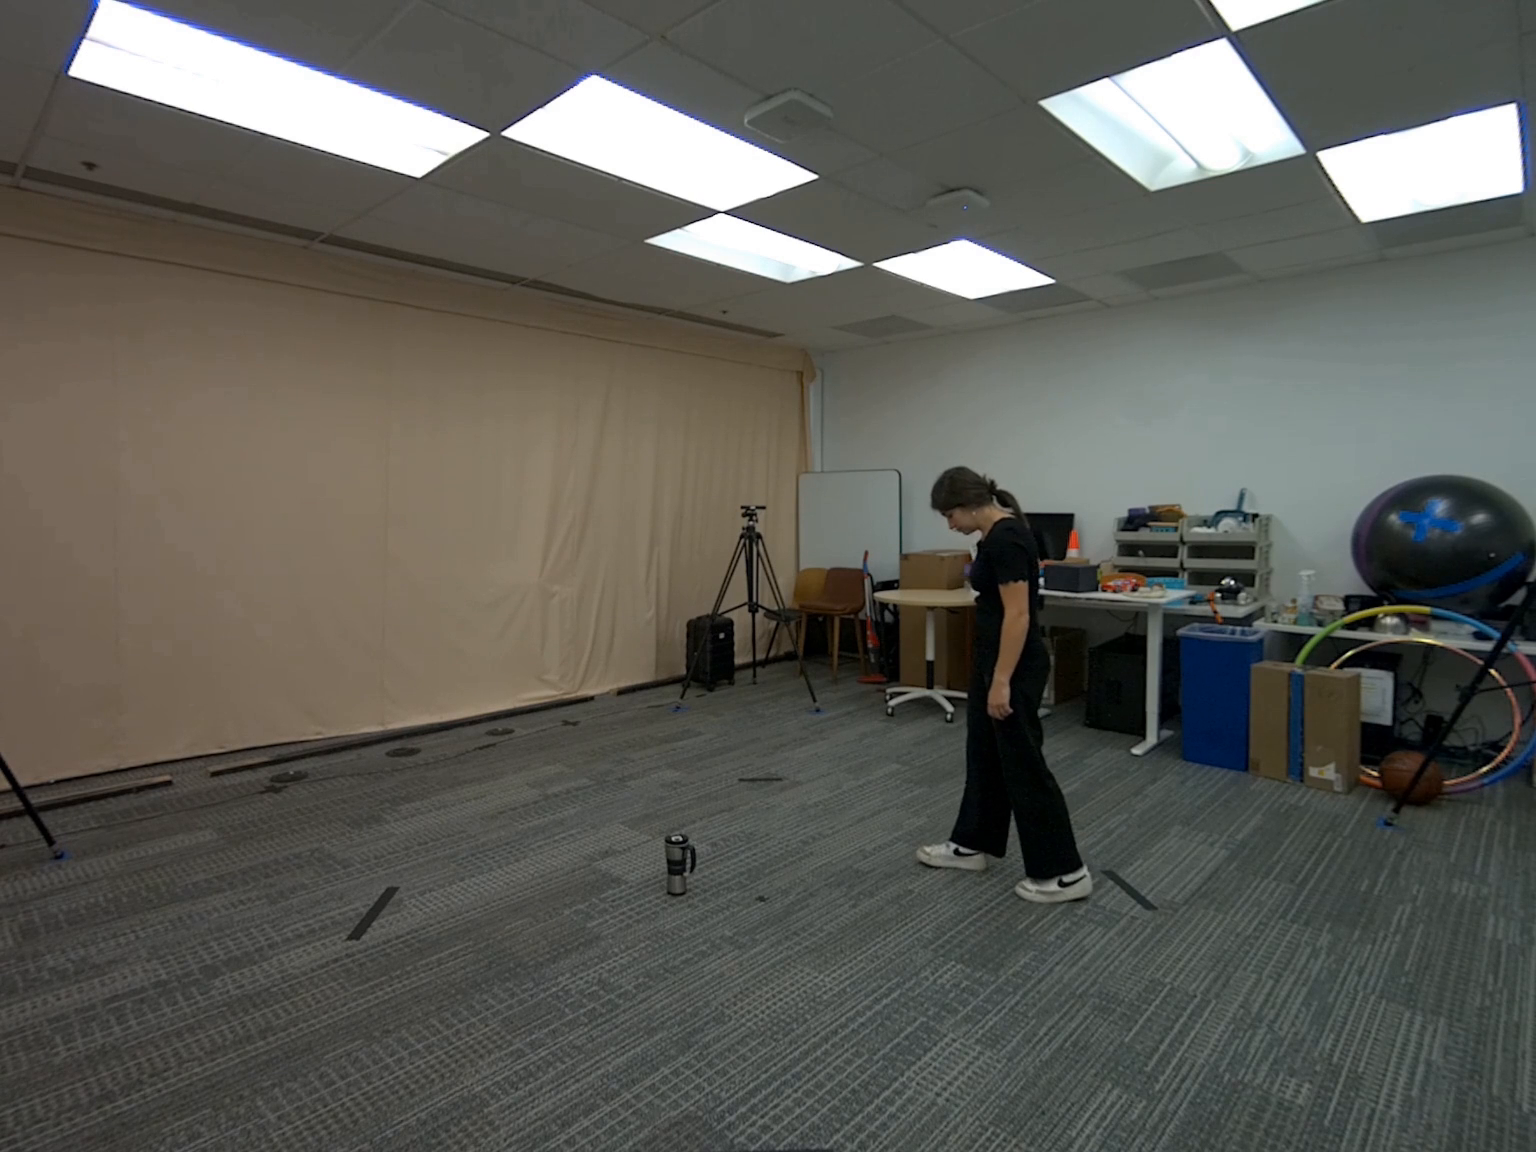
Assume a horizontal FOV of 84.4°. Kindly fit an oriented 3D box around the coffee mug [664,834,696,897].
[{"bbox_3d":[-0.315,1.050,3.015,0.085,0.203,0.126,2,-2,-37],"label":"coffee mug"}]
